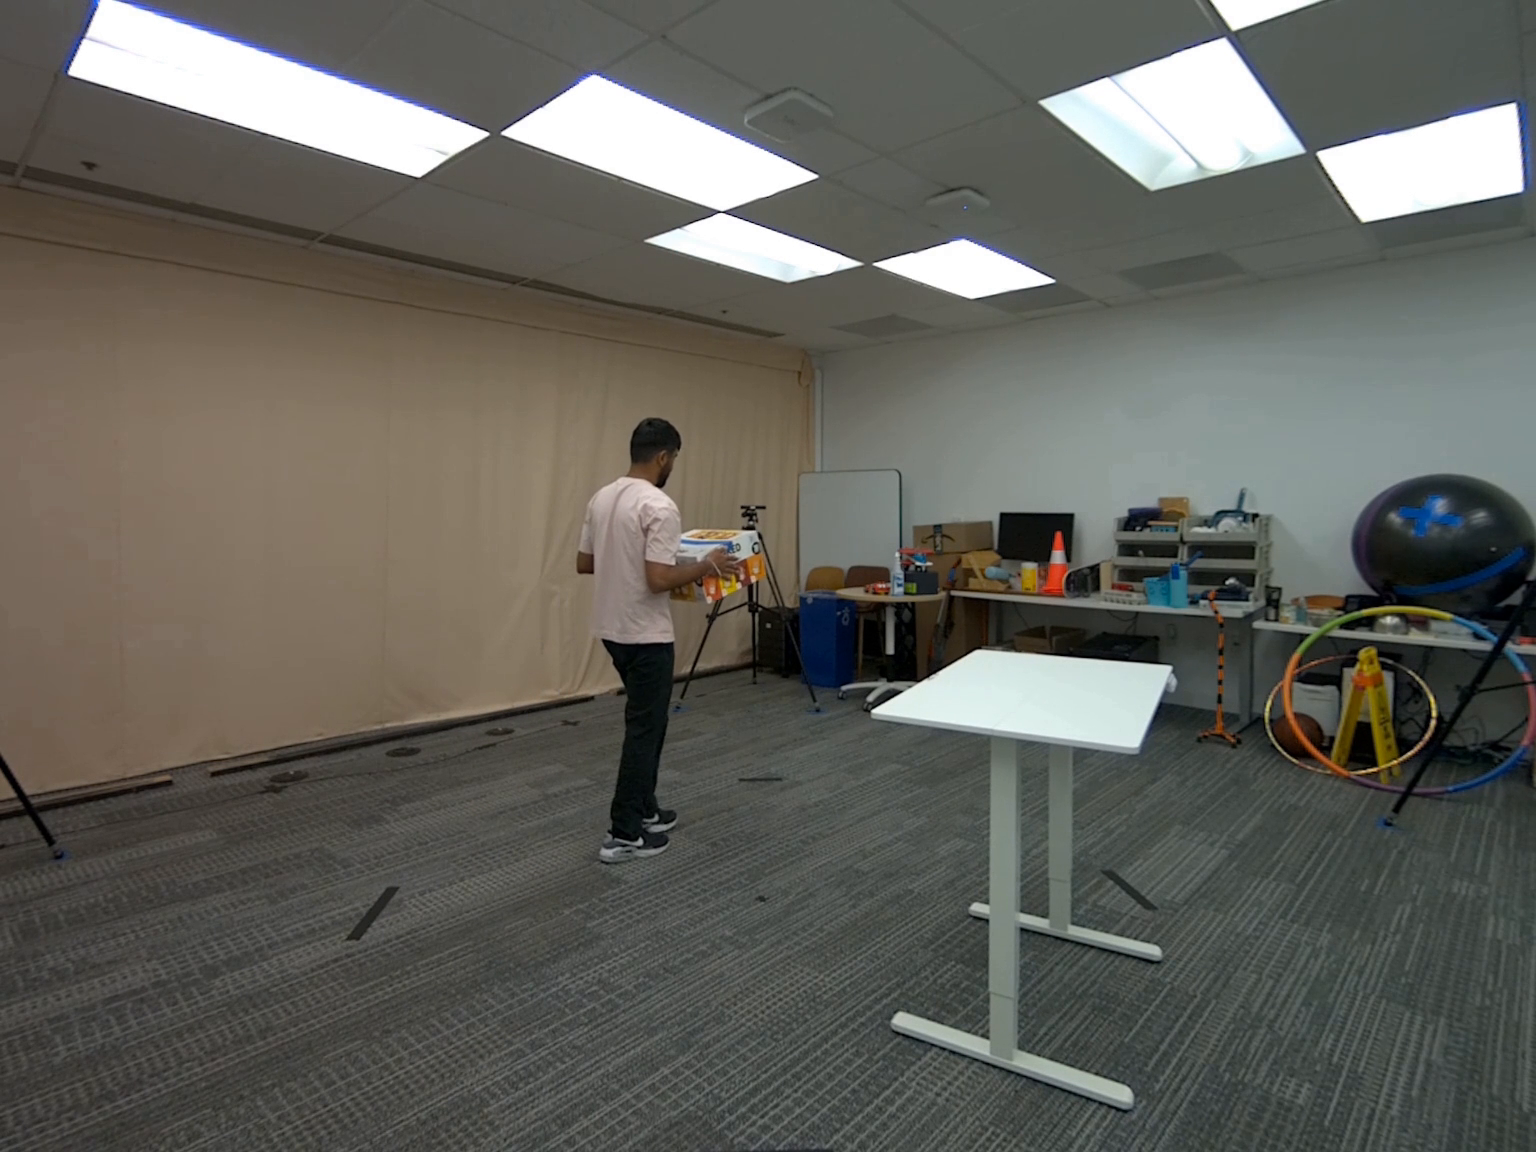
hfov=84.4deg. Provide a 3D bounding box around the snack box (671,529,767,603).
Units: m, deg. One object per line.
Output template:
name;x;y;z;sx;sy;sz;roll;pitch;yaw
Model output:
snack box;-0.284;-0.051;3.554;0.333;0.203;0.418;-24;18;-40
